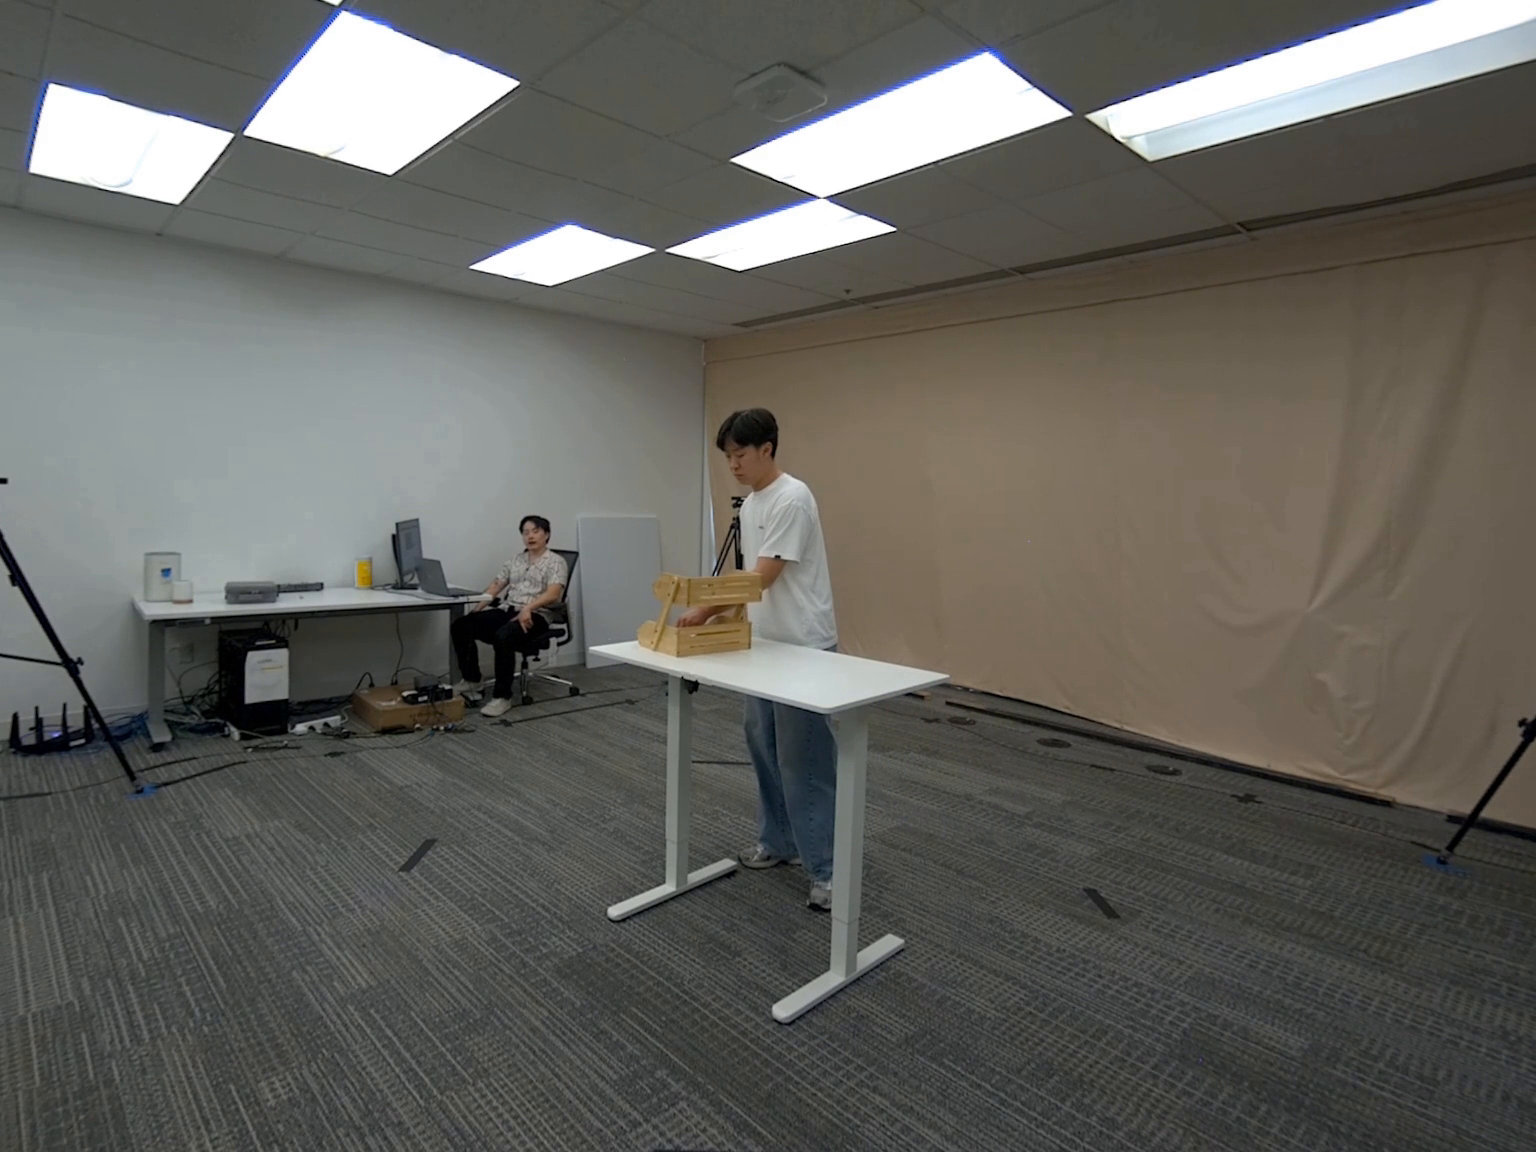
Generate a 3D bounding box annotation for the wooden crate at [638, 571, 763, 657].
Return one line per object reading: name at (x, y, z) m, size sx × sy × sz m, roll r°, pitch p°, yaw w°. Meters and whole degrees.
wooden crate at (-0.235, 0.114, 2.817) m, size 0.317 × 0.272 × 0.310 m, roll -2°, pitch 7°, yaw -39°
